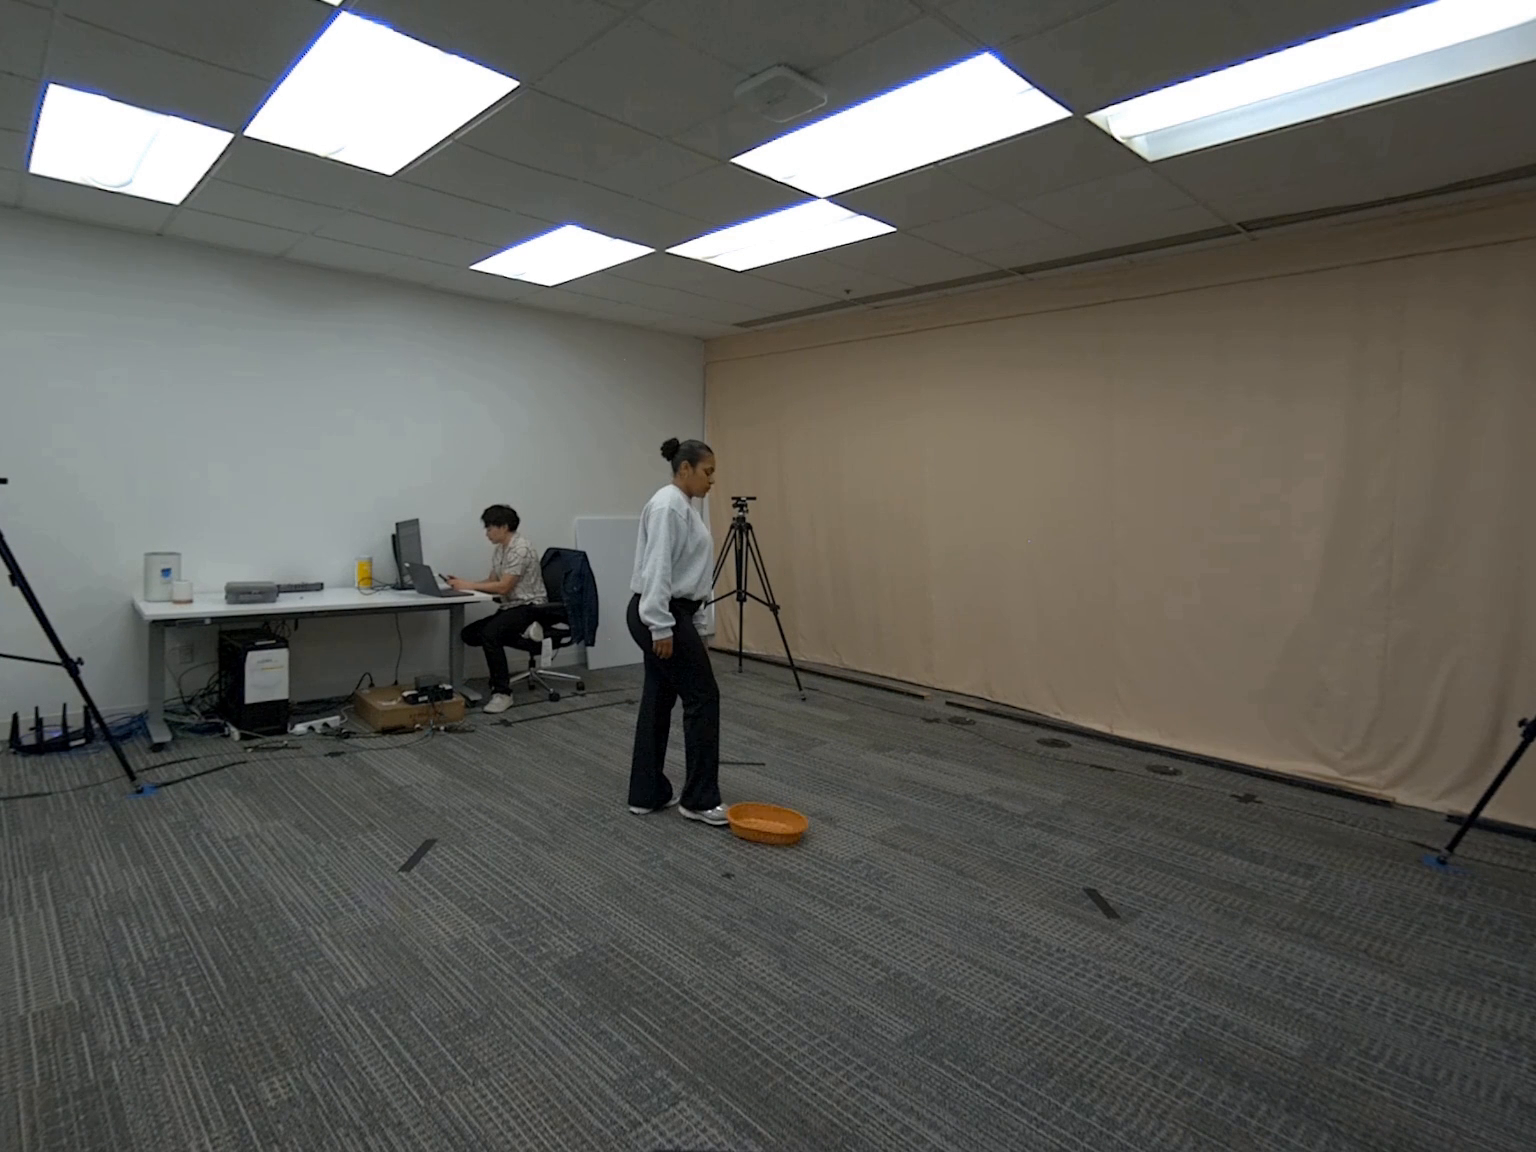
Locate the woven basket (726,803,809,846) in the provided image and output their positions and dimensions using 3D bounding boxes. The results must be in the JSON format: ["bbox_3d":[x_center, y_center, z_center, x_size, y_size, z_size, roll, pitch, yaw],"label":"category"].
[{"bbox_3d":[-0.011,1.032,3.475,0.354,0.073,0.251,6,8,10],"label":"woven basket"}]
